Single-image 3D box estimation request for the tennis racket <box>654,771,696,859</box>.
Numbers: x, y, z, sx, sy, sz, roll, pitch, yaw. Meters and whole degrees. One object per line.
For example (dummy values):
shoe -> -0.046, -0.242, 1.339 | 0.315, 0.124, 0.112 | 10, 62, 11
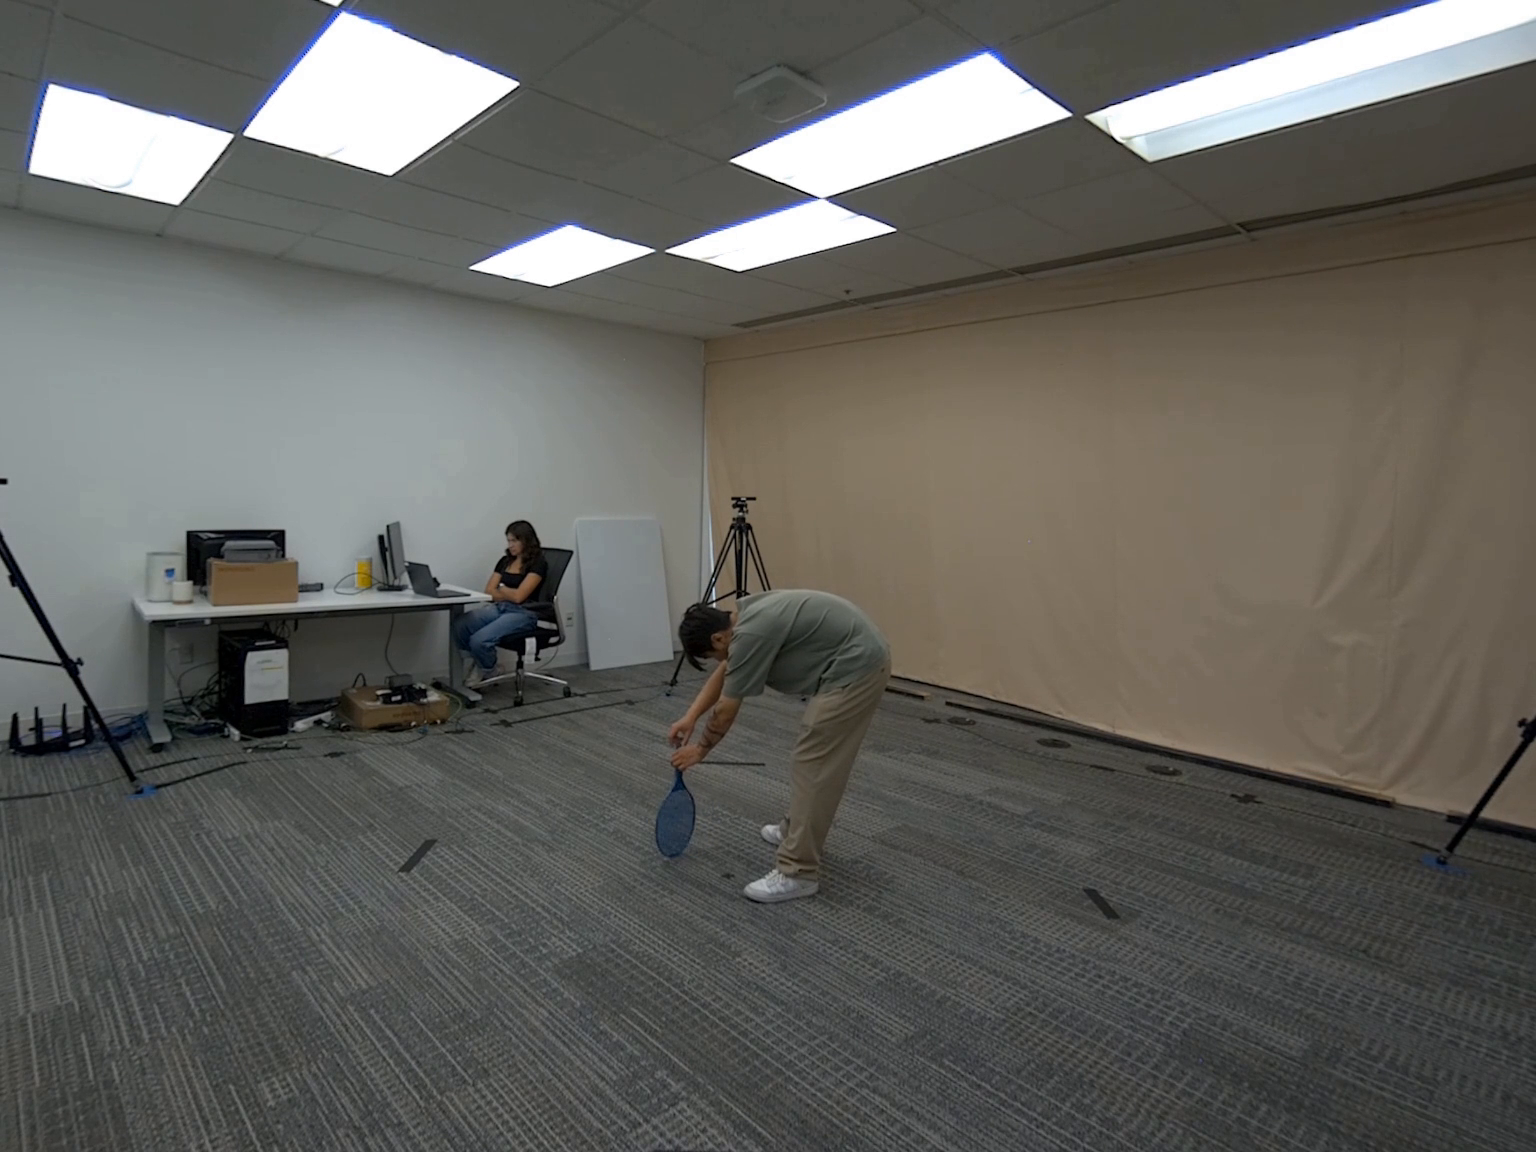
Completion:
tennis racket -> -0.361, 0.871, 3.260 | 0.032, 0.432, 0.208 | 3, 1, 40
